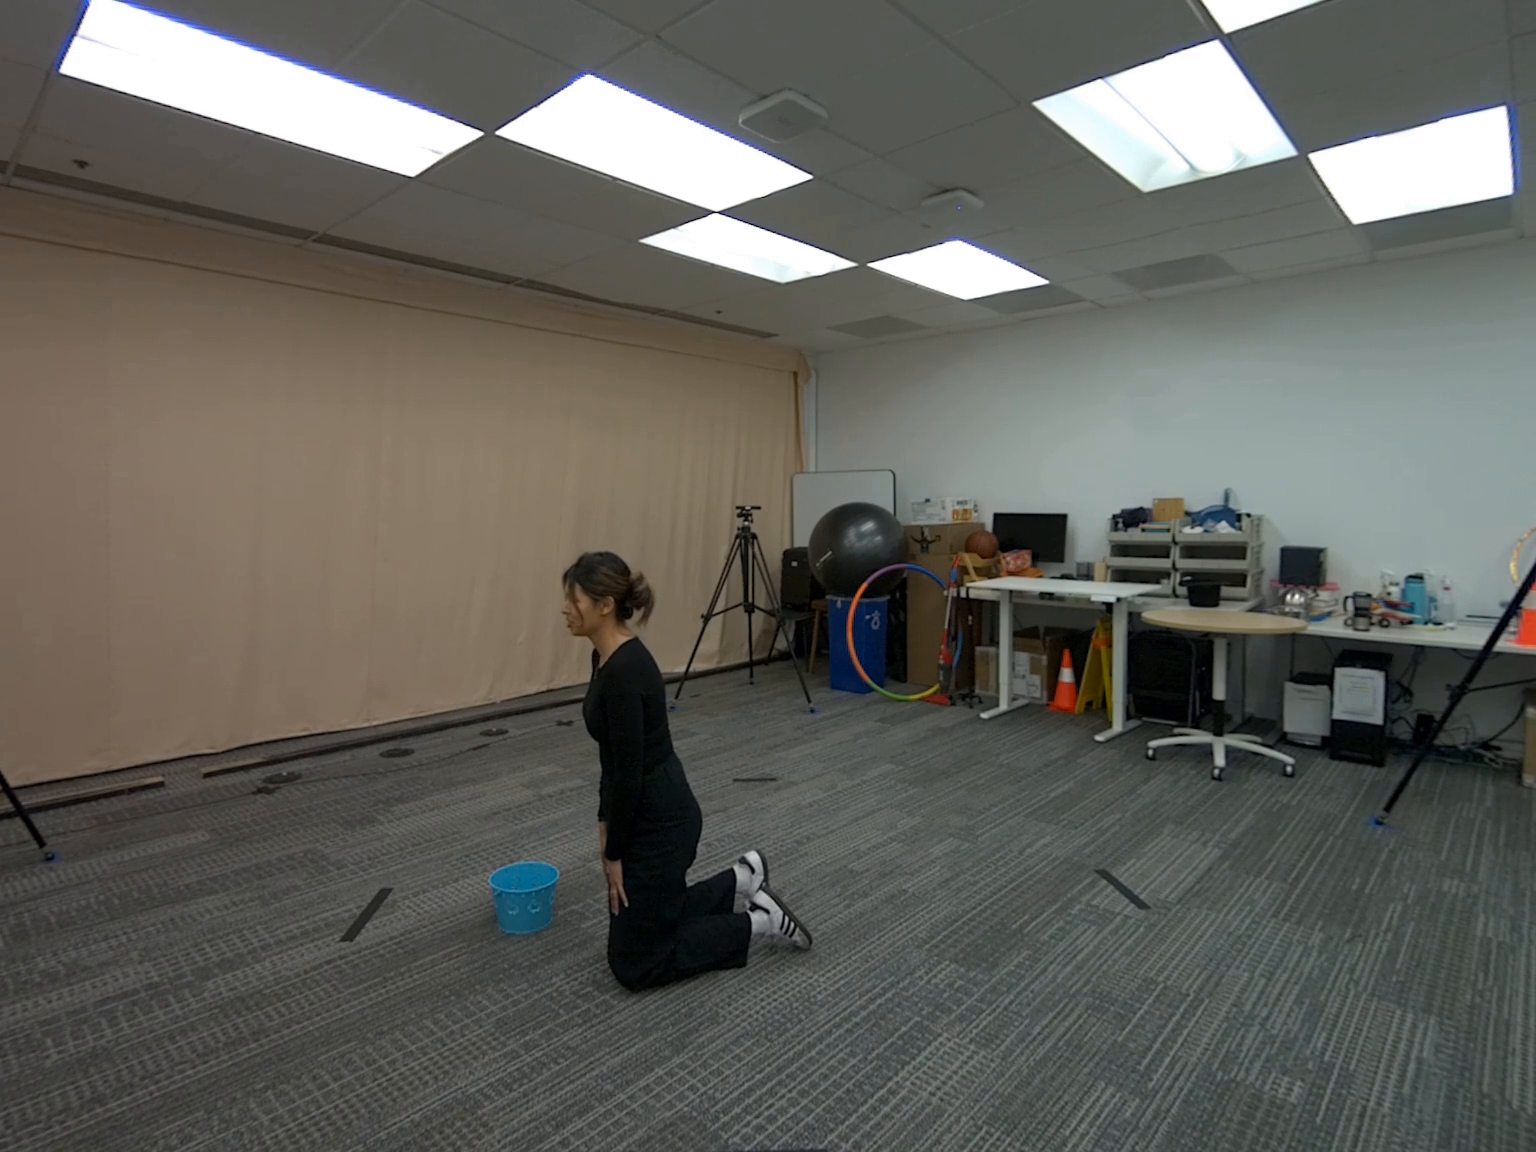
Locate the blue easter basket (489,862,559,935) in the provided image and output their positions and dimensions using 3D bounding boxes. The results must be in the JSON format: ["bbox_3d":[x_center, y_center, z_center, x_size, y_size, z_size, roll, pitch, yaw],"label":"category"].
[{"bbox_3d":[-0.821,1.087,2.839,0.243,0.155,0.244,0,4,-2],"label":"blue easter basket"}]
